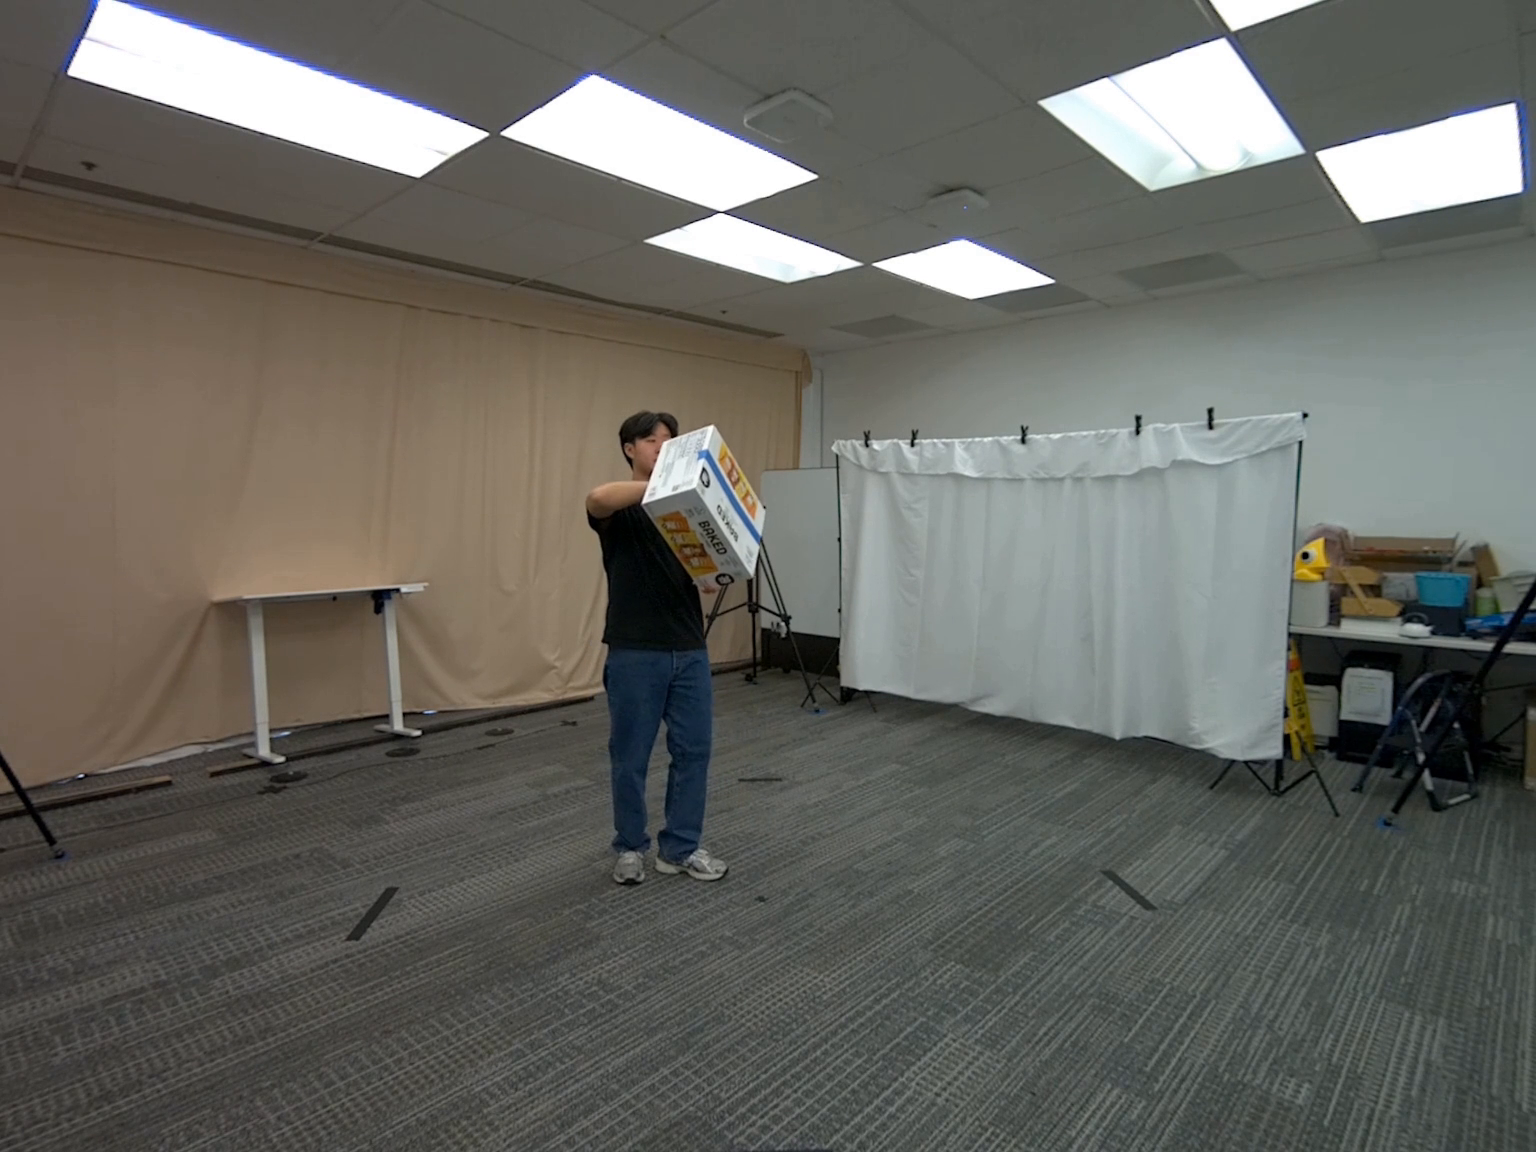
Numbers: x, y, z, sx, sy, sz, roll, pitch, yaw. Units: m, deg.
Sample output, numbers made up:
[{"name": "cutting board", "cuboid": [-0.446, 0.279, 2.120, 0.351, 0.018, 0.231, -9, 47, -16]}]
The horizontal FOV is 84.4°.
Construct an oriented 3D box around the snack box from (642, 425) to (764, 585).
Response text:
[{"name": "snack box", "cuboid": [-0.204, -0.222, 2.810, 0.210, 0.393, 0.344, -15, 38, 23]}]
